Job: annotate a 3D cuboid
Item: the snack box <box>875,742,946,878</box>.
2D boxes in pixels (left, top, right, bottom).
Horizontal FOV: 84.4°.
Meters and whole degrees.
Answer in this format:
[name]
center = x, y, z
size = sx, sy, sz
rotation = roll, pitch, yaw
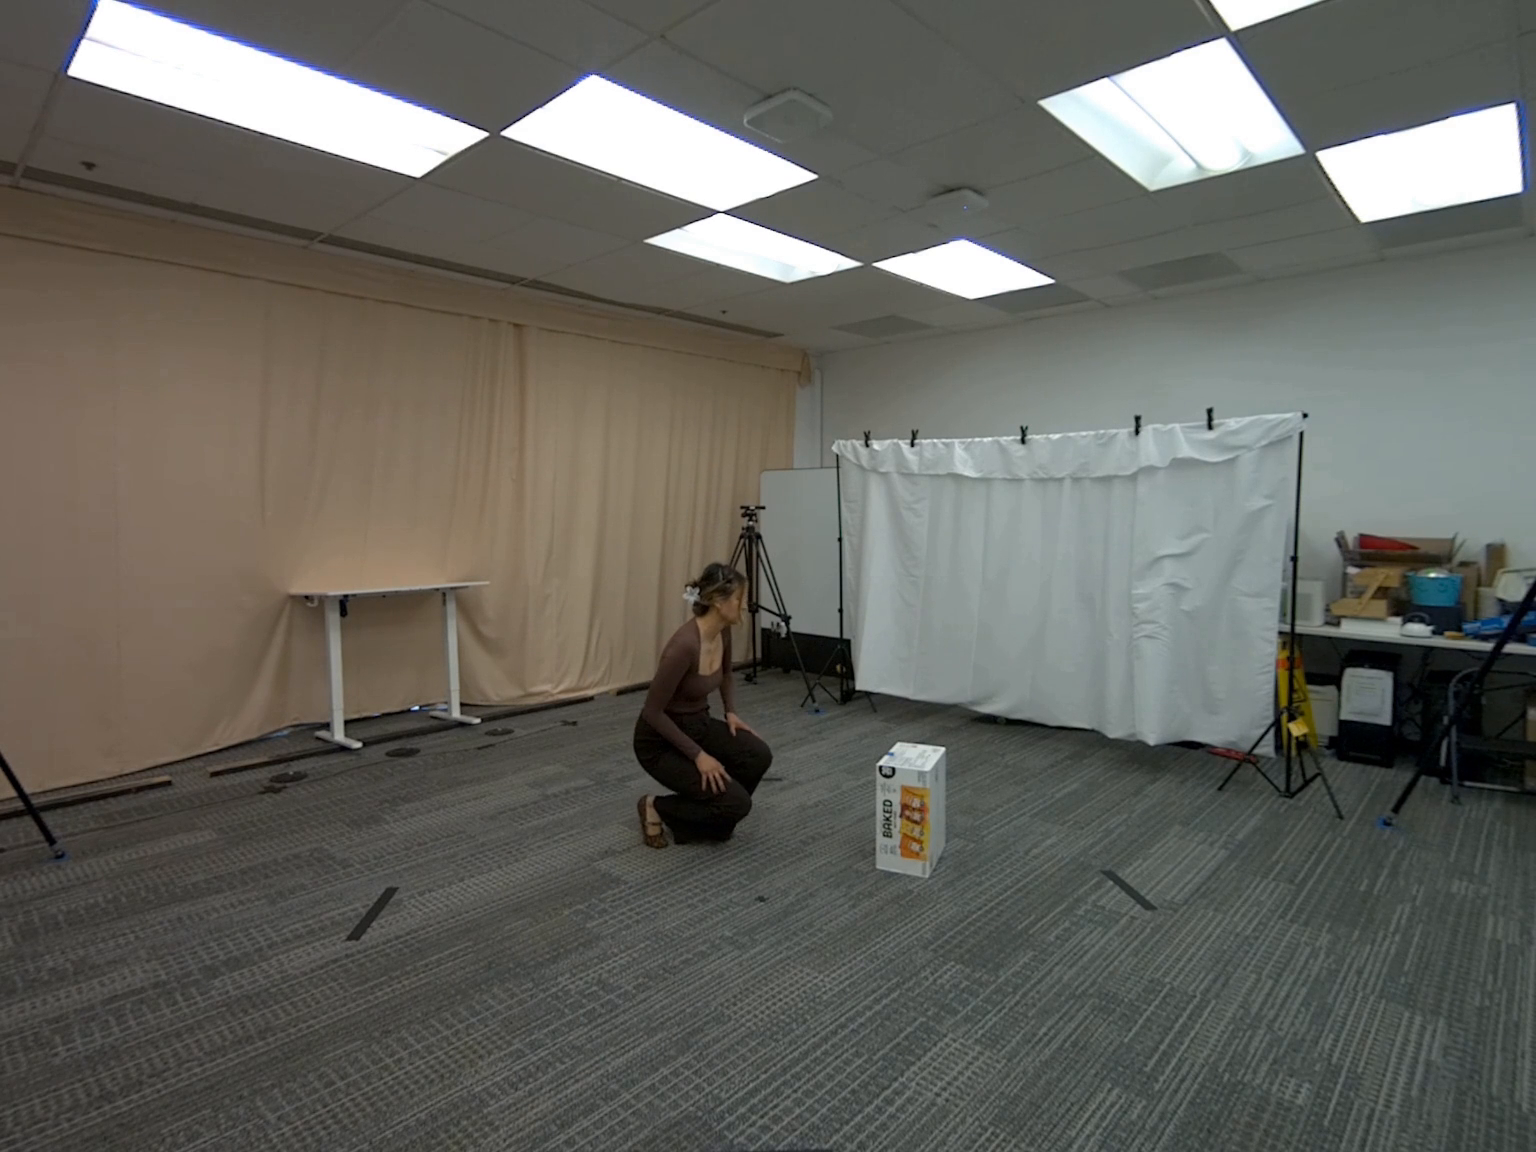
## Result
[snack box]
center = 0.572, 0.908, 3.330
size = 0.211, 0.404, 0.333
rotation = 1, 4, 23
